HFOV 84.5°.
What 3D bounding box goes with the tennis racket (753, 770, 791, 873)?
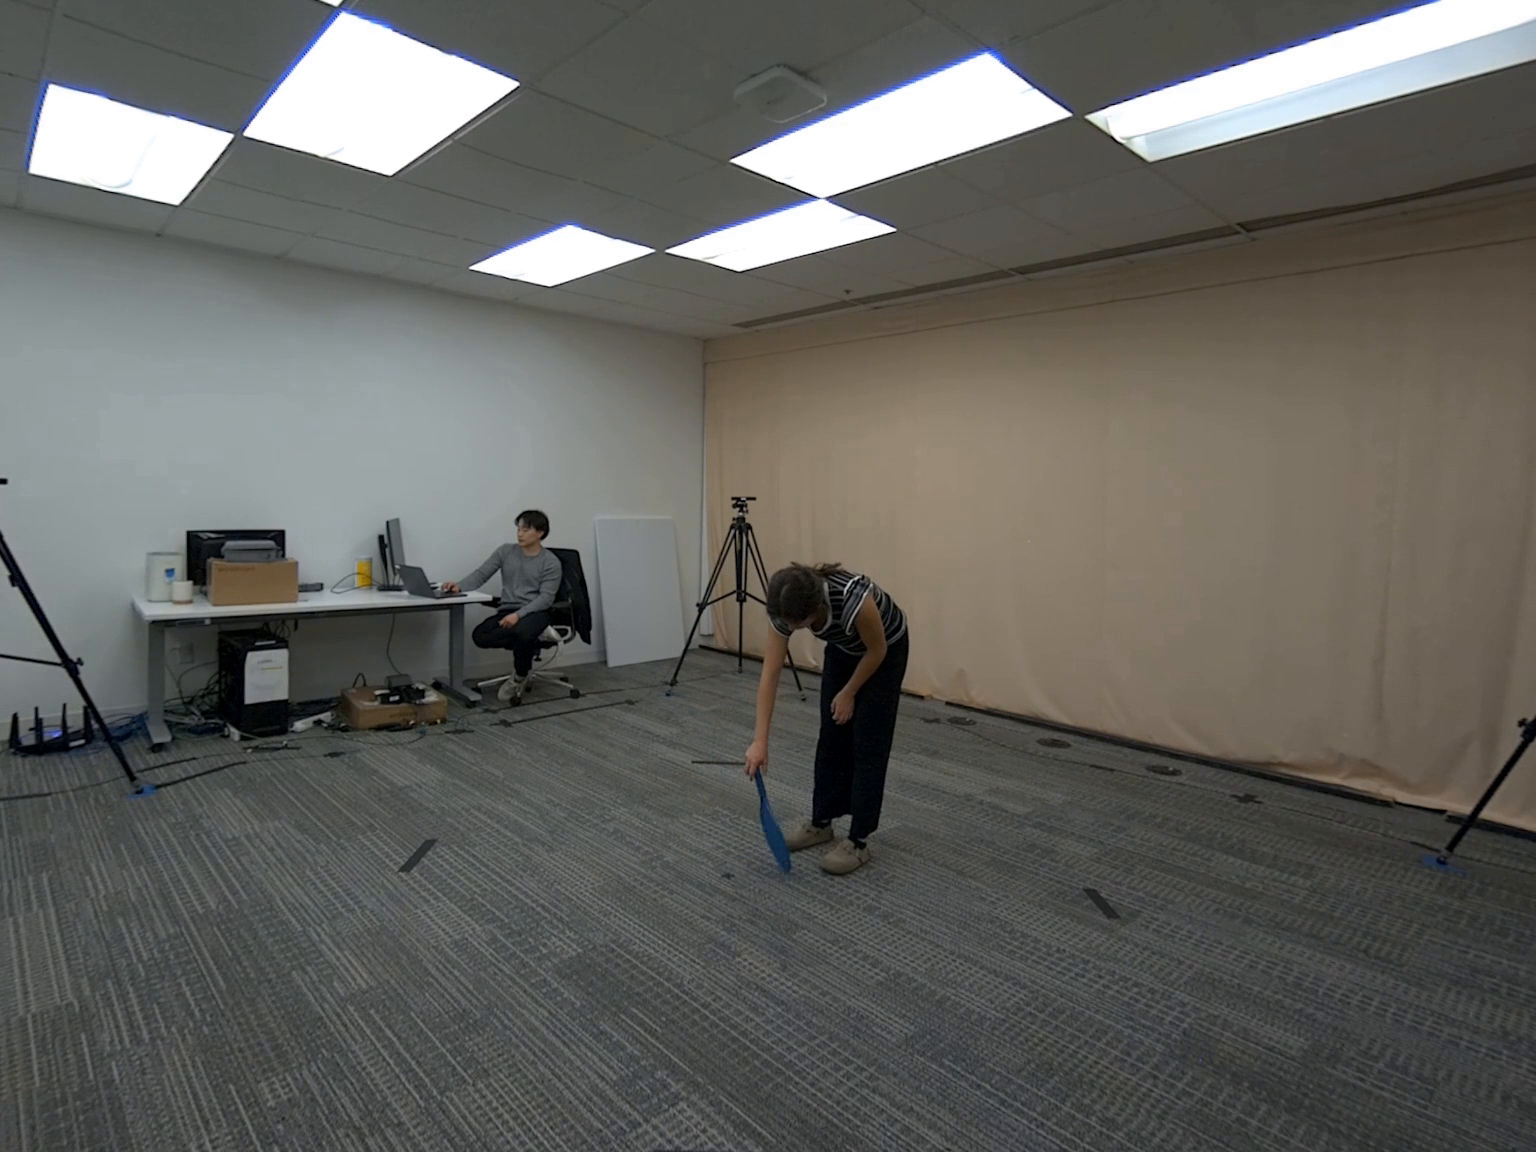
[{"bbox_3d":[0.001,0.899,3.135,0.031,0.430,0.216,-17,8,-9],"label":"tennis racket"}]
